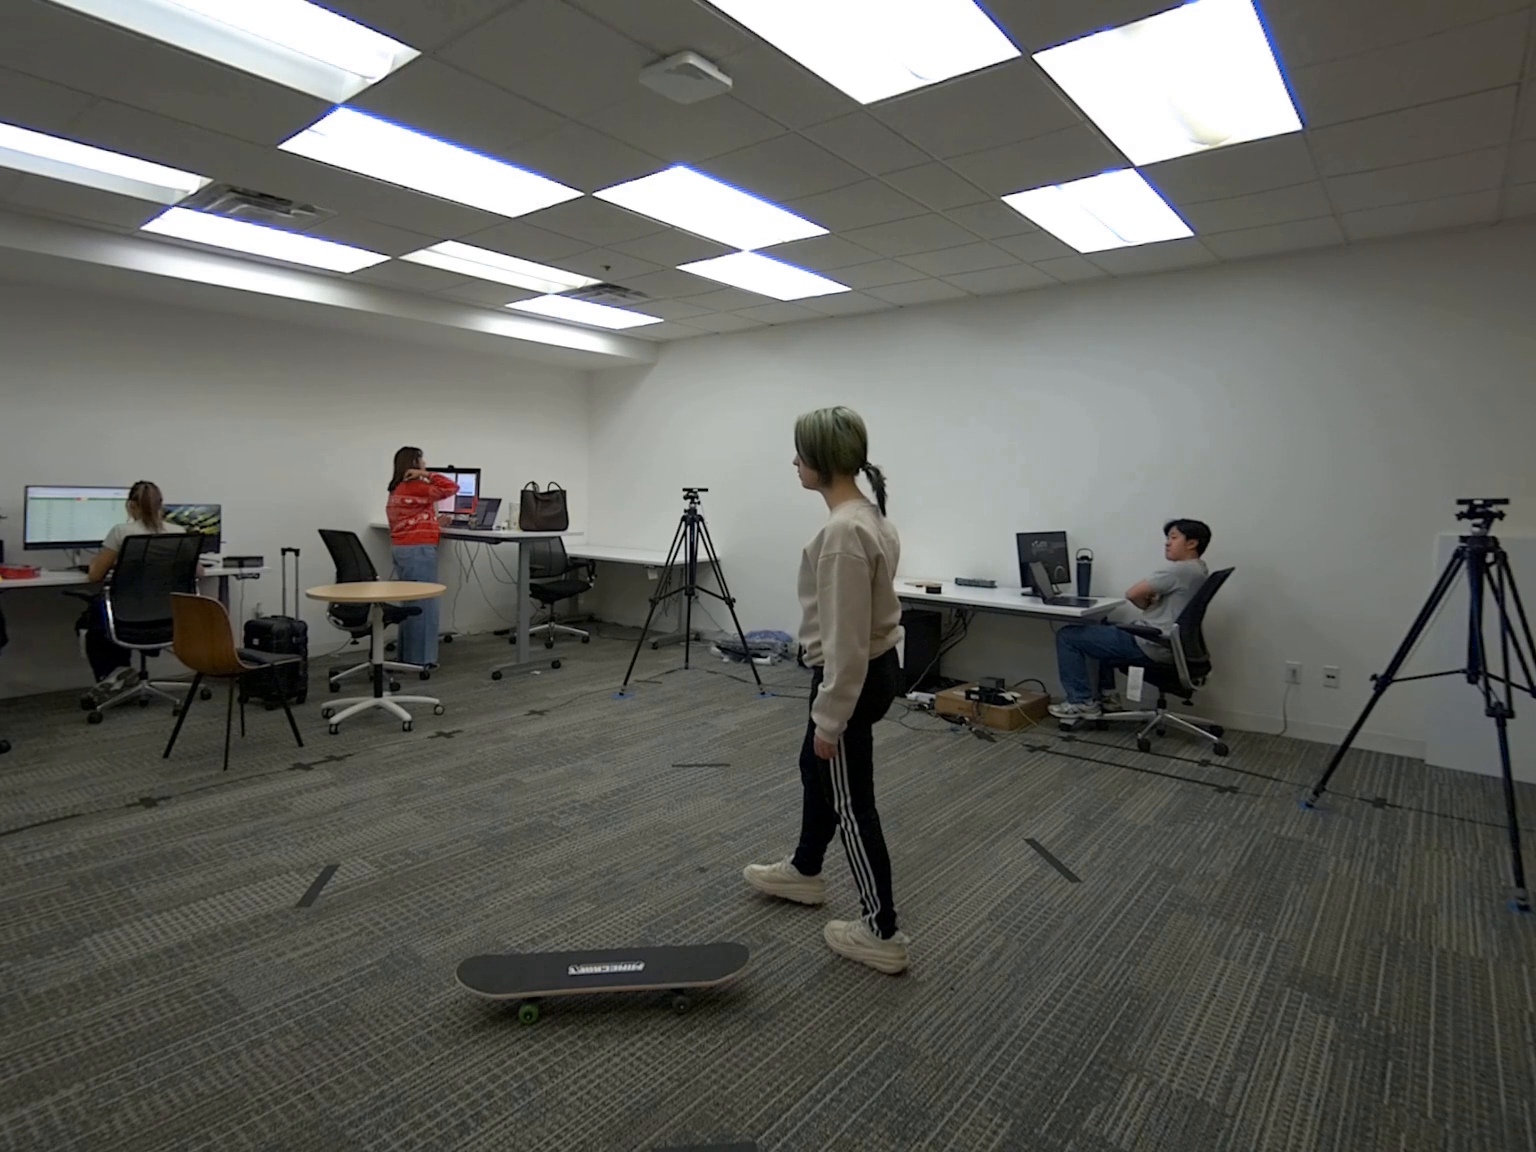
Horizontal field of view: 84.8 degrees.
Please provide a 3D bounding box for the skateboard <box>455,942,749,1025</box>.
[{"bbox_3d":[-0.446,1.091,2.306,0.778,0.110,0.196,0,6,-8],"label":"skateboard"}]
